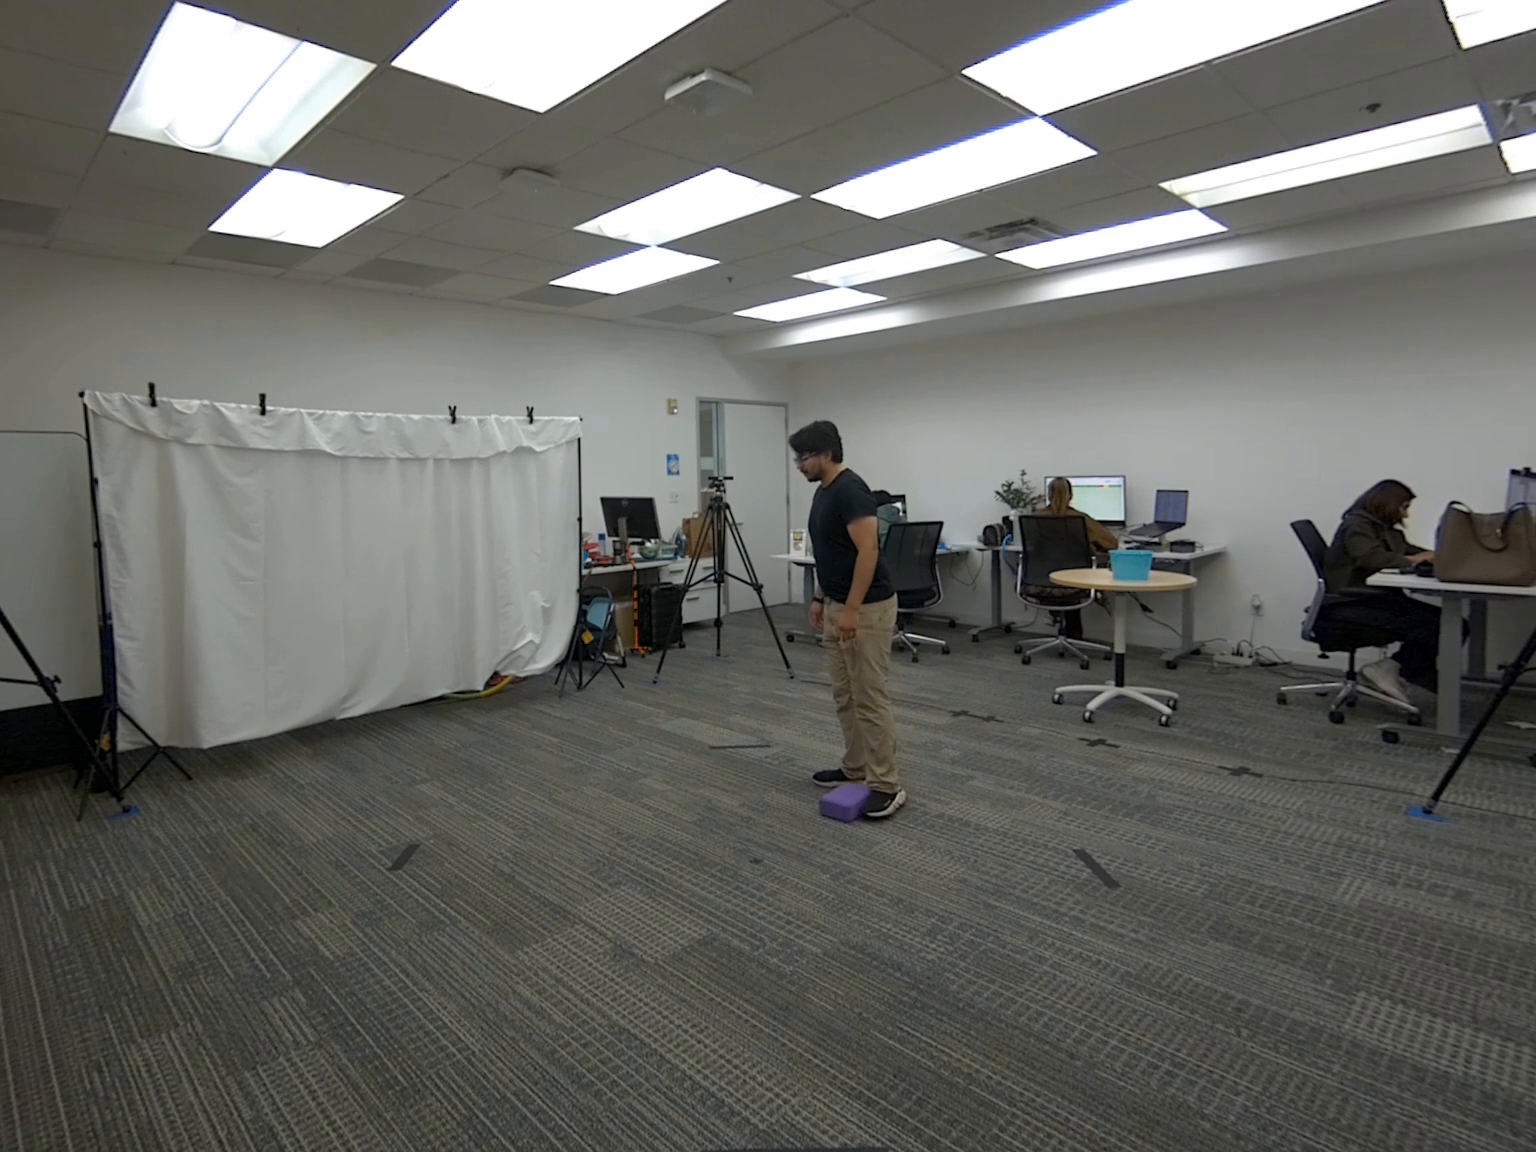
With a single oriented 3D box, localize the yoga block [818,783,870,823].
[{"bbox_3d":[0.328,0.932,3.561,0.153,0.076,0.224,4,9,34],"label":"yoga block"}]
